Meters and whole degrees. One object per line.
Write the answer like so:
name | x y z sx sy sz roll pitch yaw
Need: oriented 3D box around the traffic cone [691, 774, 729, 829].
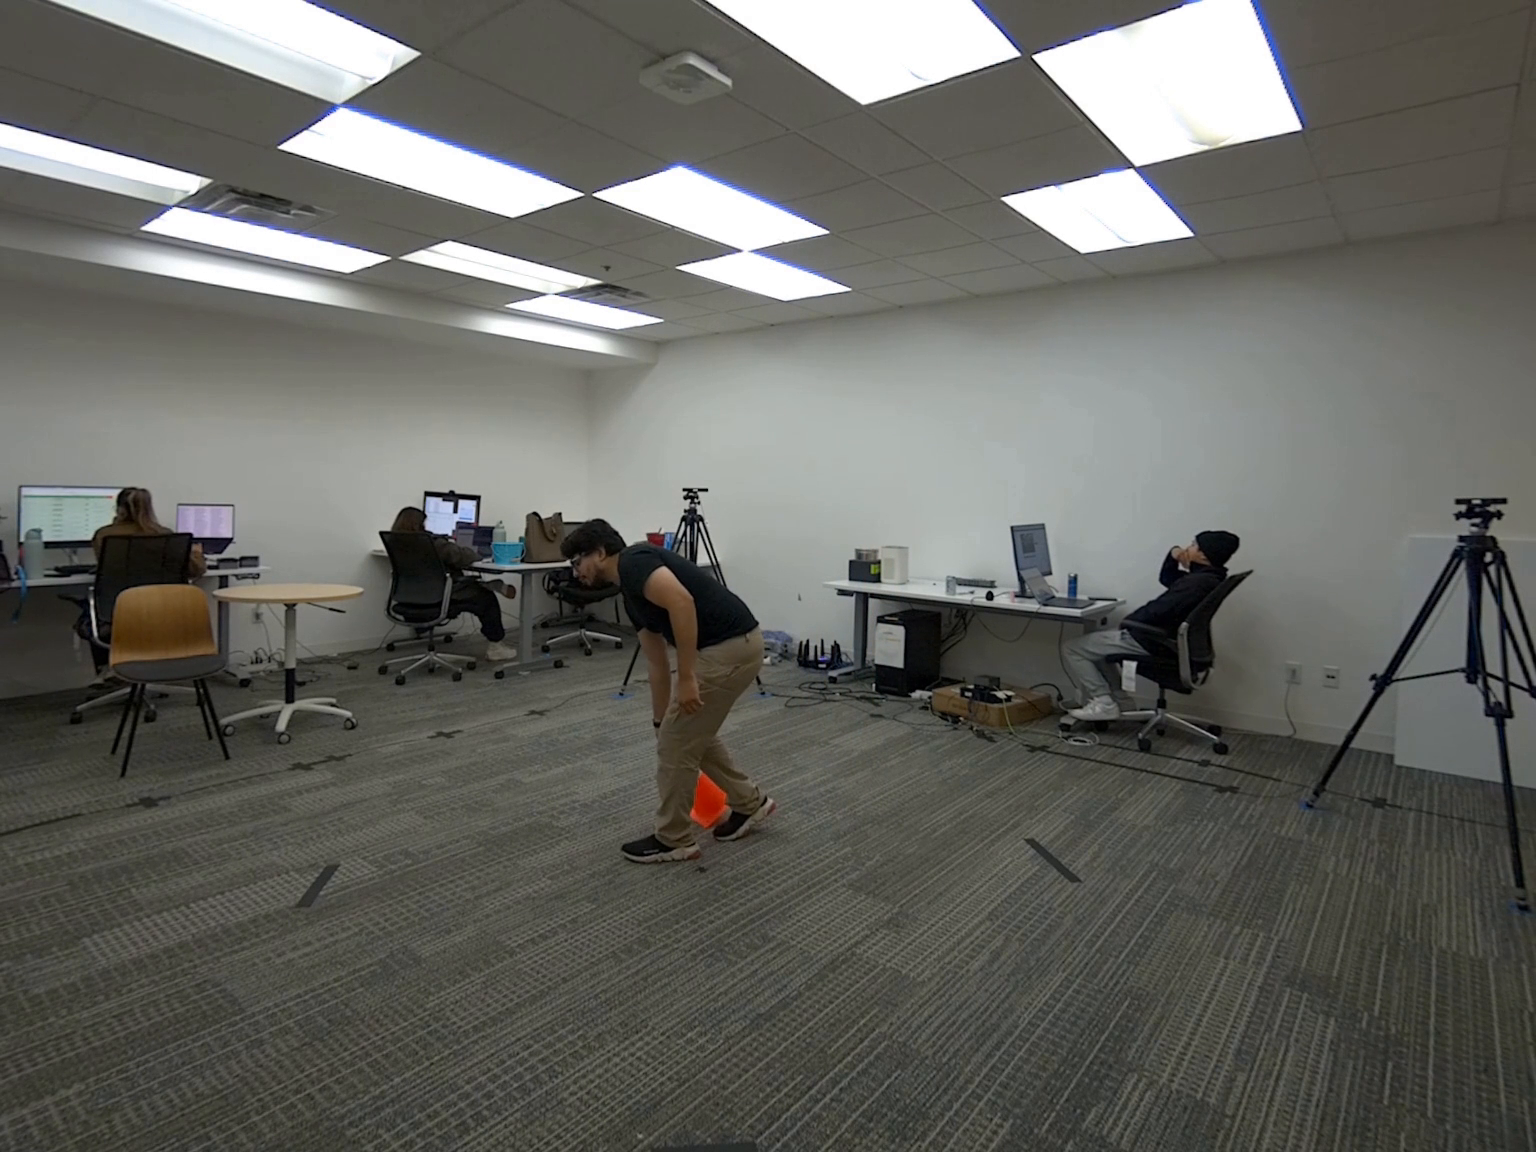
traffic cone | -0.342 0.821 3.550 0.204 0.374 0.210 -36 22 -23
